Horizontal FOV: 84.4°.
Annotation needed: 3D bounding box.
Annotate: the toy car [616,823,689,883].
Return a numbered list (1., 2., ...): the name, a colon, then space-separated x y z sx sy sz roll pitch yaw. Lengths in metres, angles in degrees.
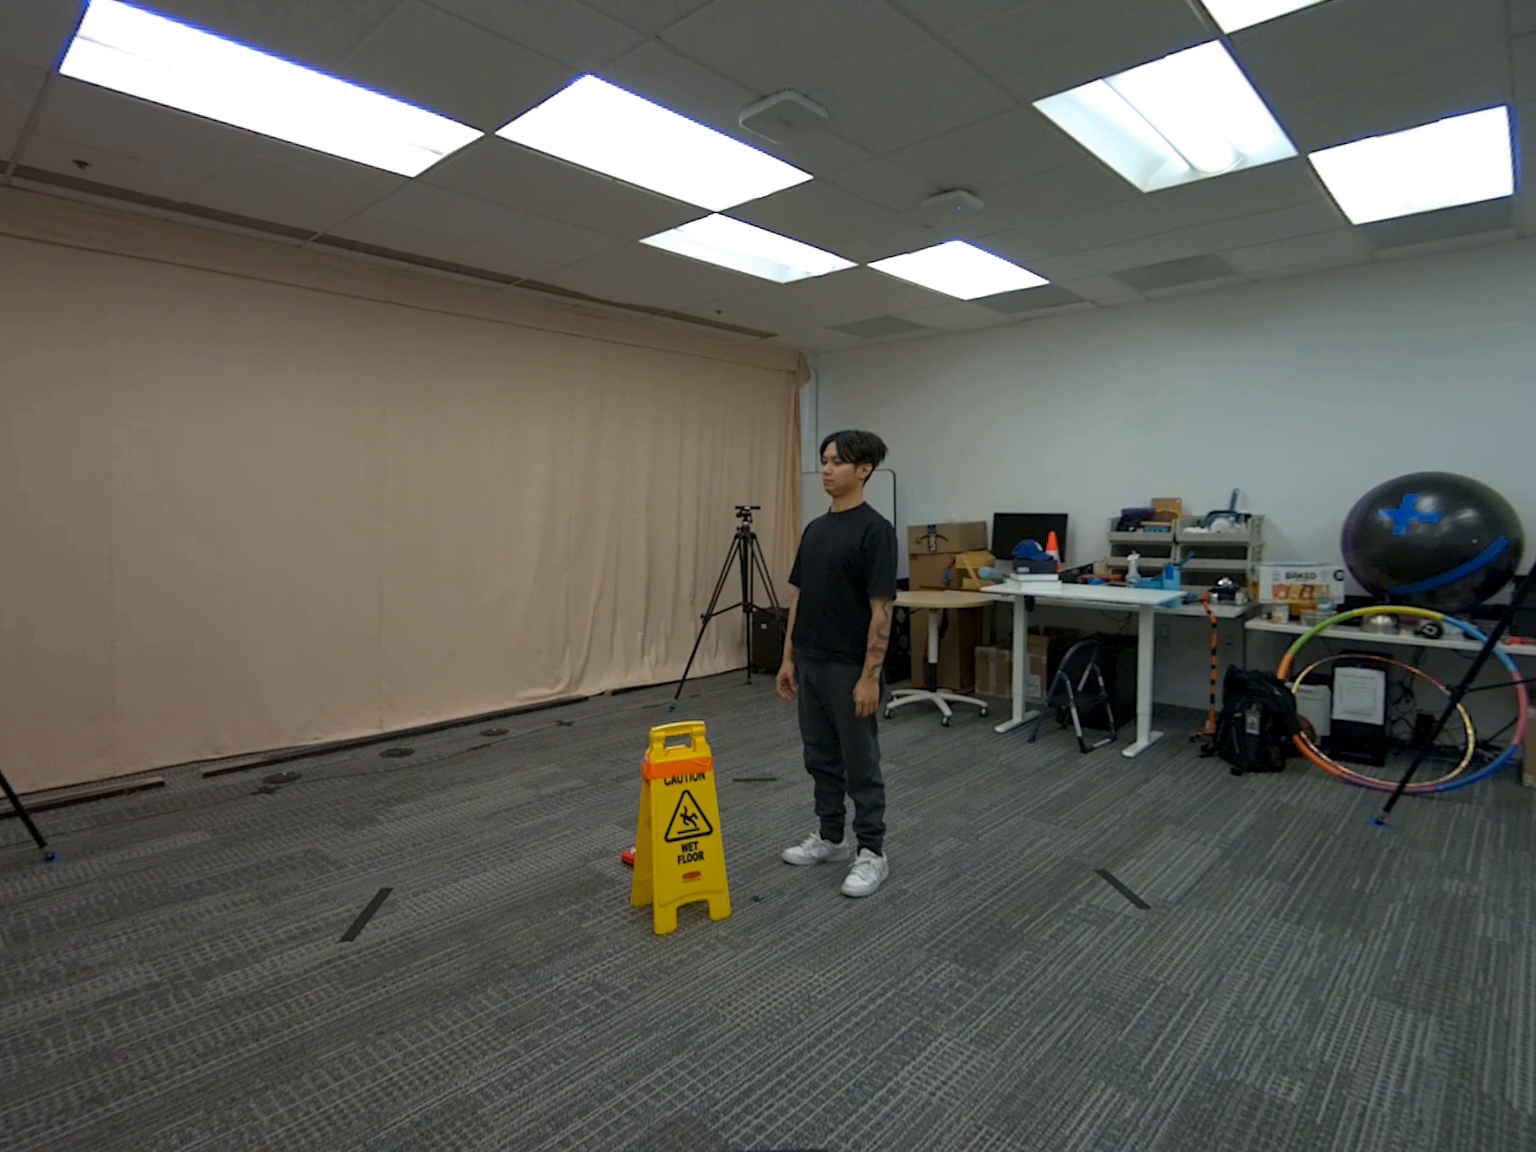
1. toy car: -0.456 1.089 3.348 0.134 0.082 0.249 2 16 40
